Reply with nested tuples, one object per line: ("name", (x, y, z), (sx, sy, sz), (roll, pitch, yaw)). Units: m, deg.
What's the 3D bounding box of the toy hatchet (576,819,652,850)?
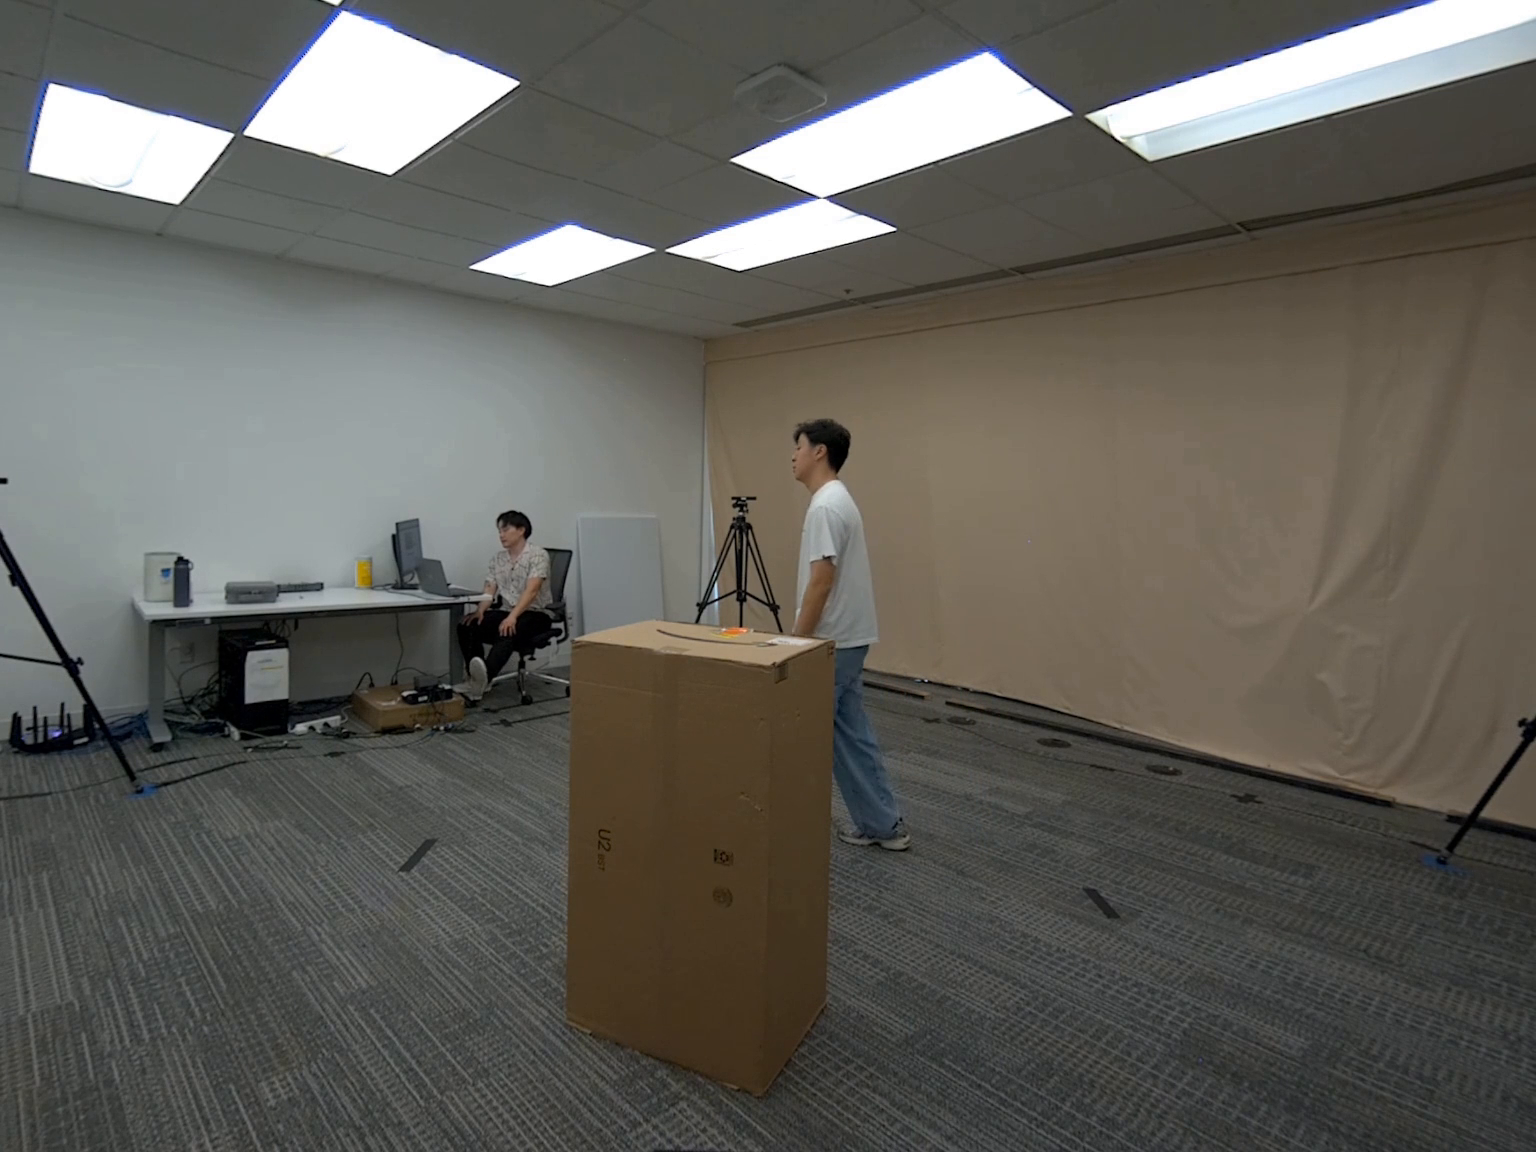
("toy hatchet", (-0.628, 1.047, 3.439), (0.274, 0.029, 0.129), (4, 6, 18))
